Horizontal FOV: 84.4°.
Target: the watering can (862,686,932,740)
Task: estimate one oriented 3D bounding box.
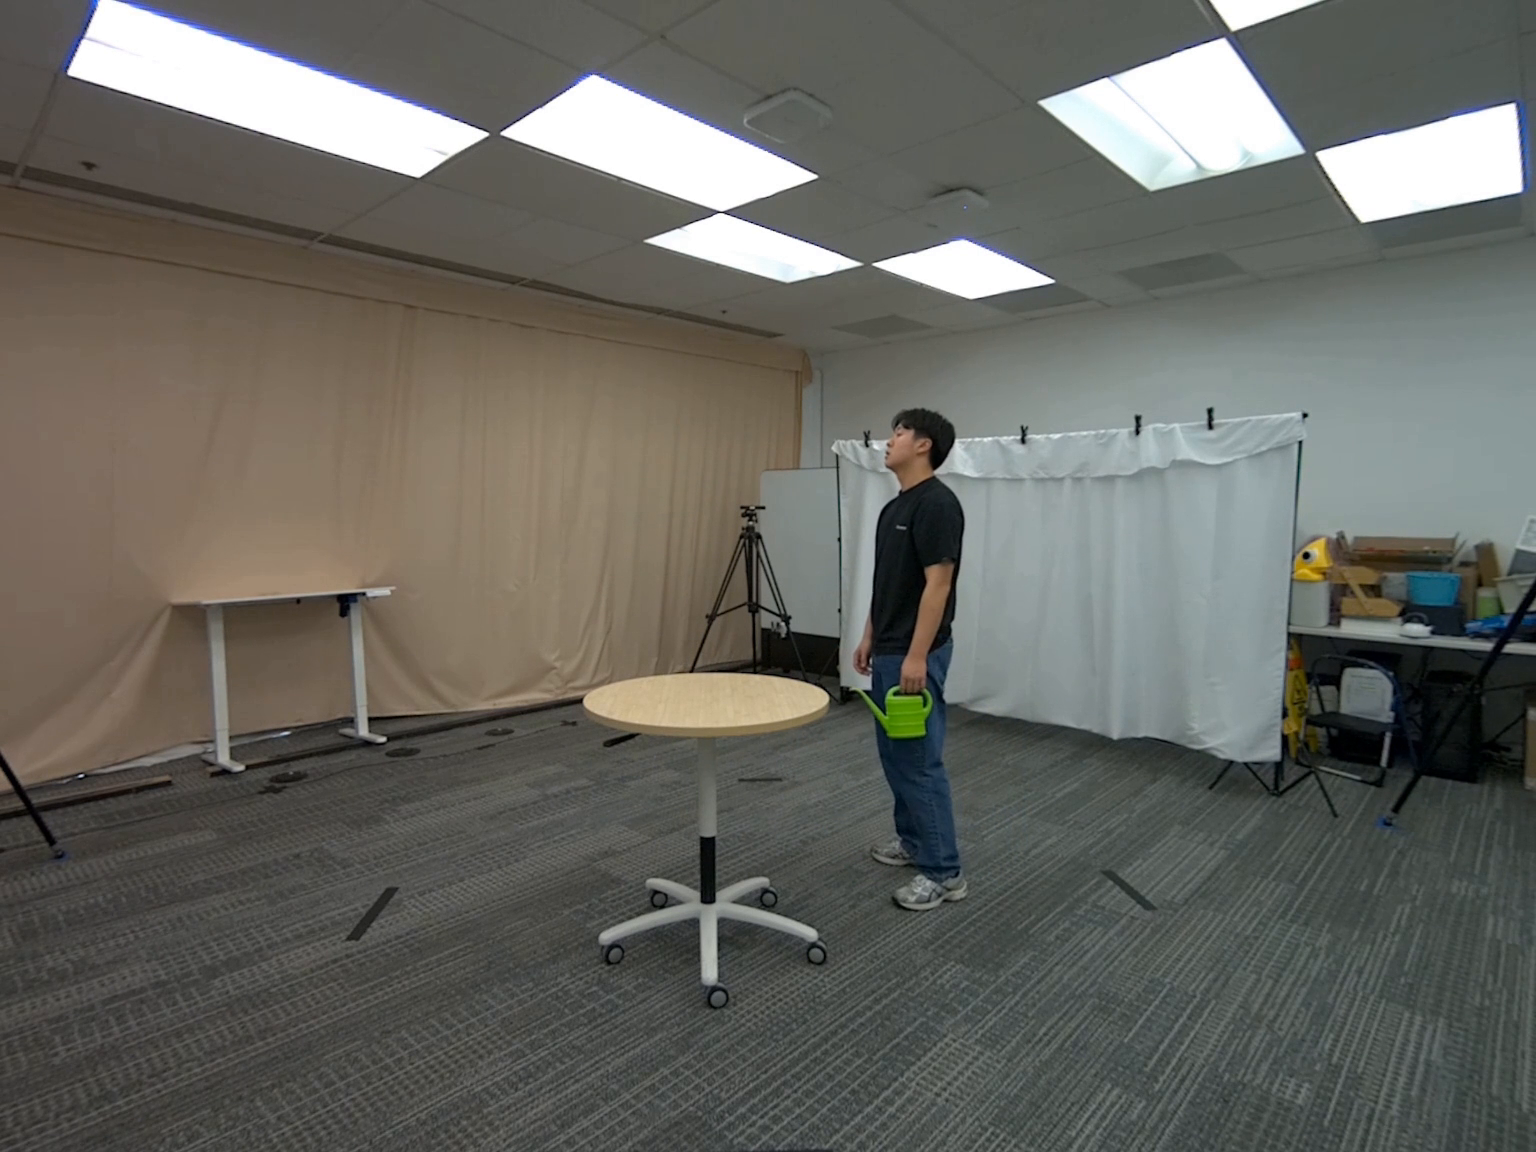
[{"bbox_3d":[0.433,0.466,2.918,0.281,0.177,0.097,-2,-5,8],"label":"watering can"}]
